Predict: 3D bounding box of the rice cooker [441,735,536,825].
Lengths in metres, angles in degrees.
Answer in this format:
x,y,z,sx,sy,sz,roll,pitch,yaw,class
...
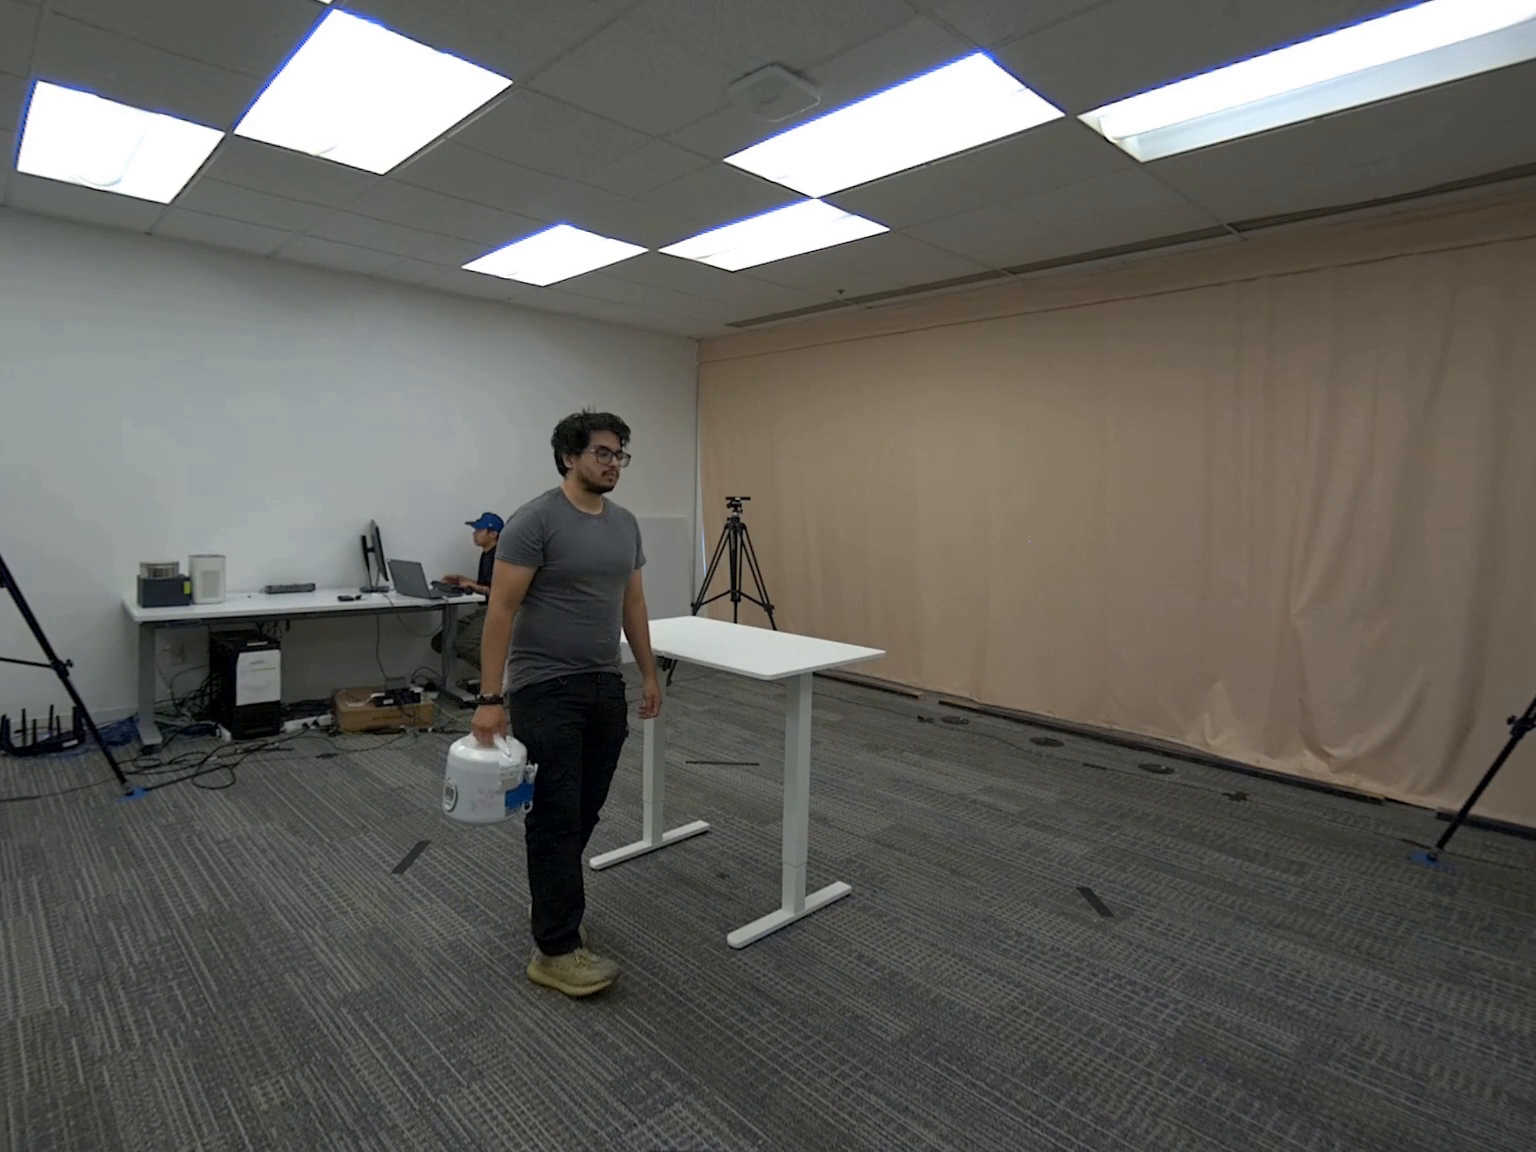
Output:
x,y,z,sx,sy,sz,roll,pitch,yaw,class
-0.785,0.549,2.297,0.226,0.232,0.212,11,5,38,rice cooker
